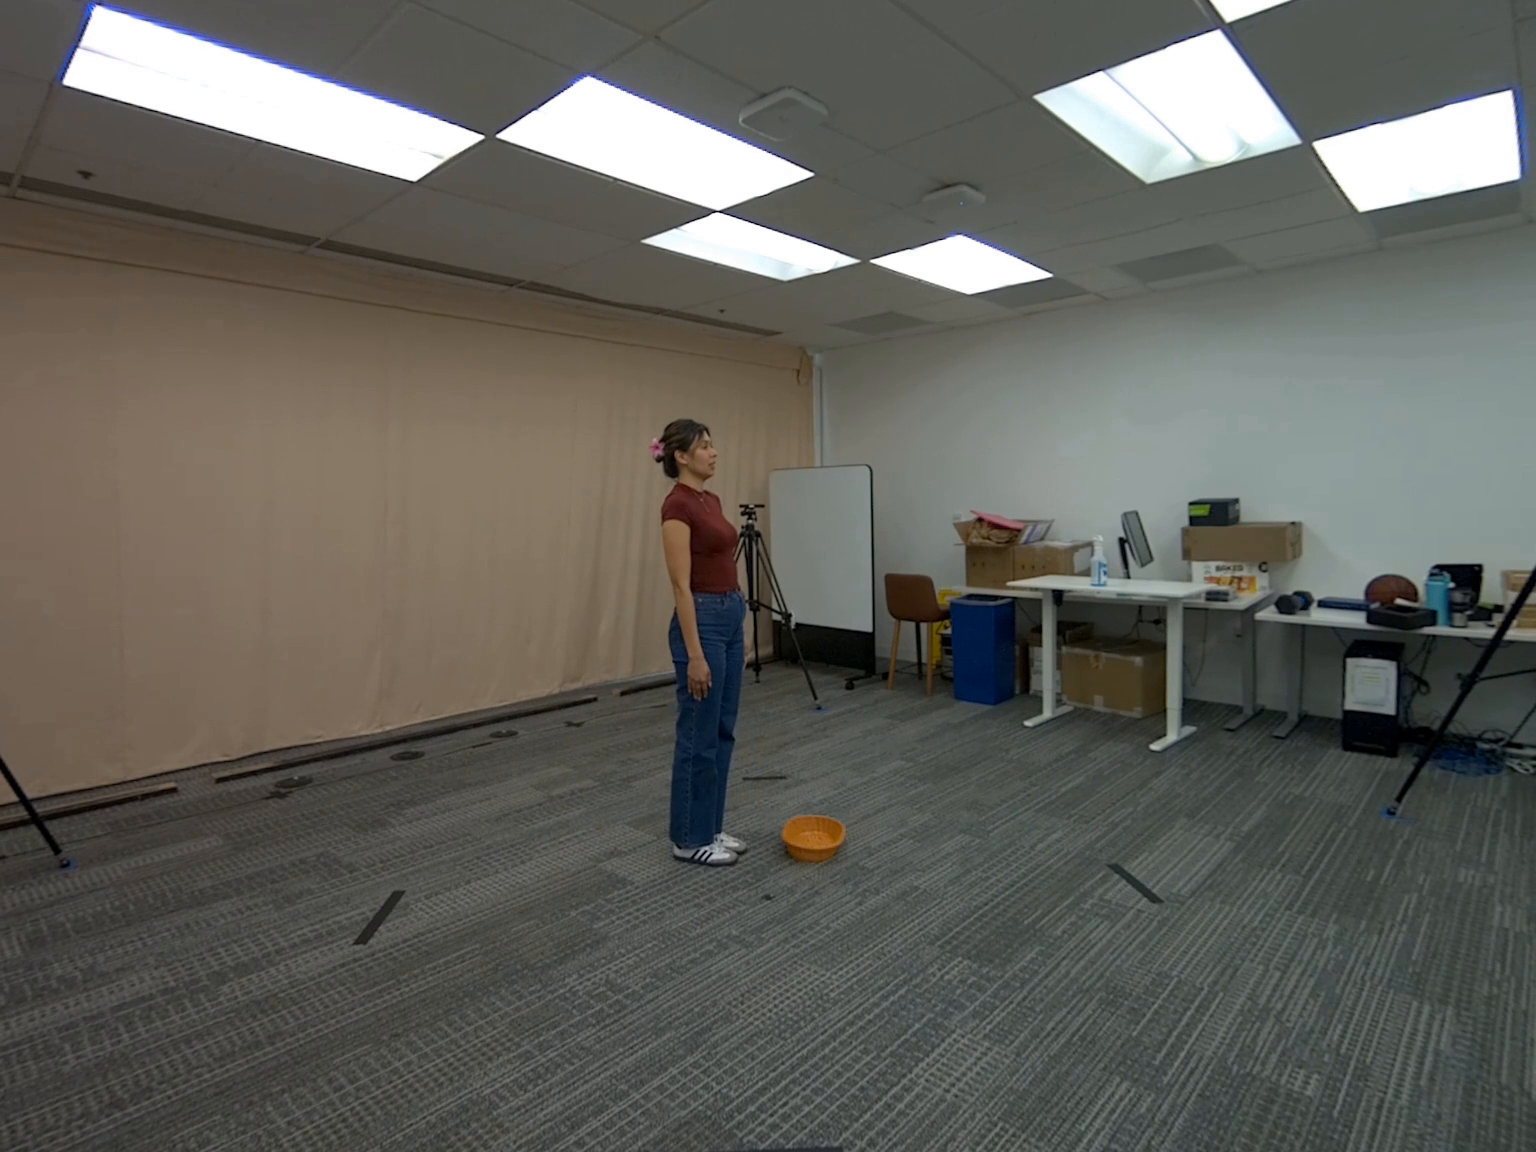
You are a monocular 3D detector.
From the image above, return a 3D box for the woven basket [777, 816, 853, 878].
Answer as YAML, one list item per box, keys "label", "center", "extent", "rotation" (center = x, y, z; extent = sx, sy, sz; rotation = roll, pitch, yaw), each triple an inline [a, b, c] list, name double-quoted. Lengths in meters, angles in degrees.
- label: "woven basket"
  center: [0.192, 1.076, 3.395]
  extent: [0.256, 0.073, 0.346]
  rotation: [3, 6, 12]
